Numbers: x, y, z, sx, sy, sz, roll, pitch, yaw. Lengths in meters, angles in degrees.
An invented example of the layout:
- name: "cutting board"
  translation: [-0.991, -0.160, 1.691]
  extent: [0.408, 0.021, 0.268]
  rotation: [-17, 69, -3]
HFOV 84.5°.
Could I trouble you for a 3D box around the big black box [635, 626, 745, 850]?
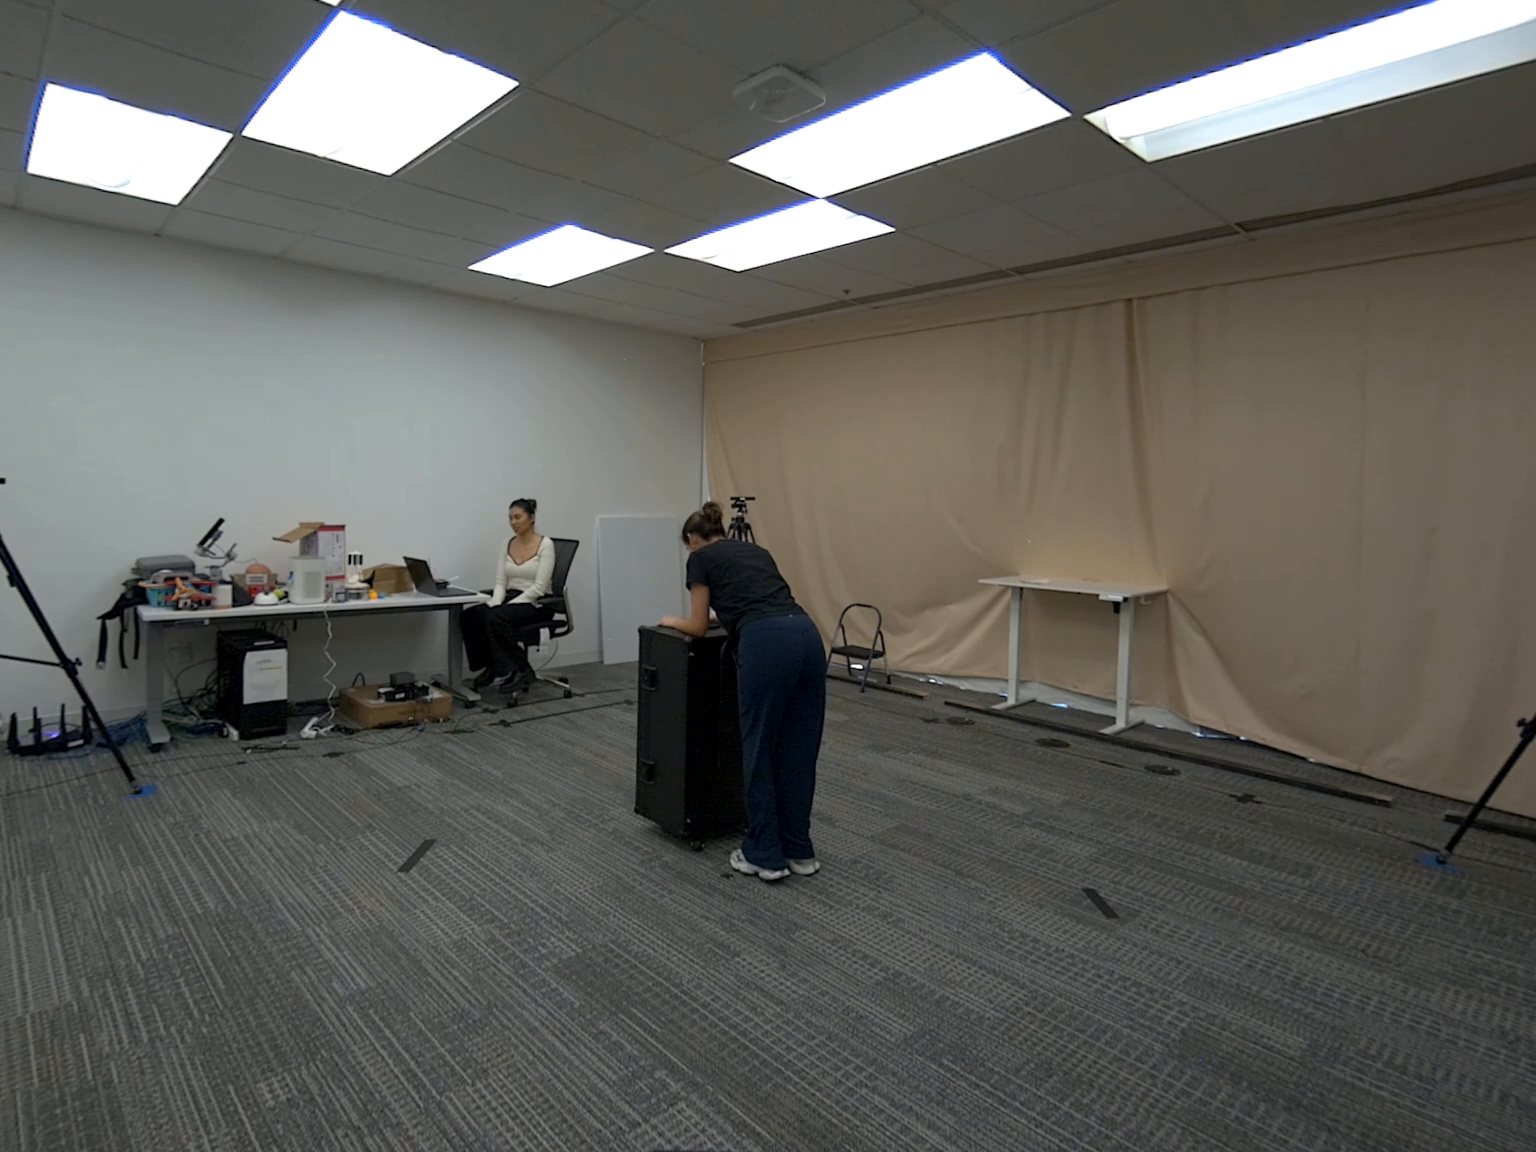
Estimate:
- name: "big black box"
  translation: [-0.249, 0.590, 3.494]
  extent: [0.509, 0.860, 0.406]
  rotation: [0, 3, -40]
